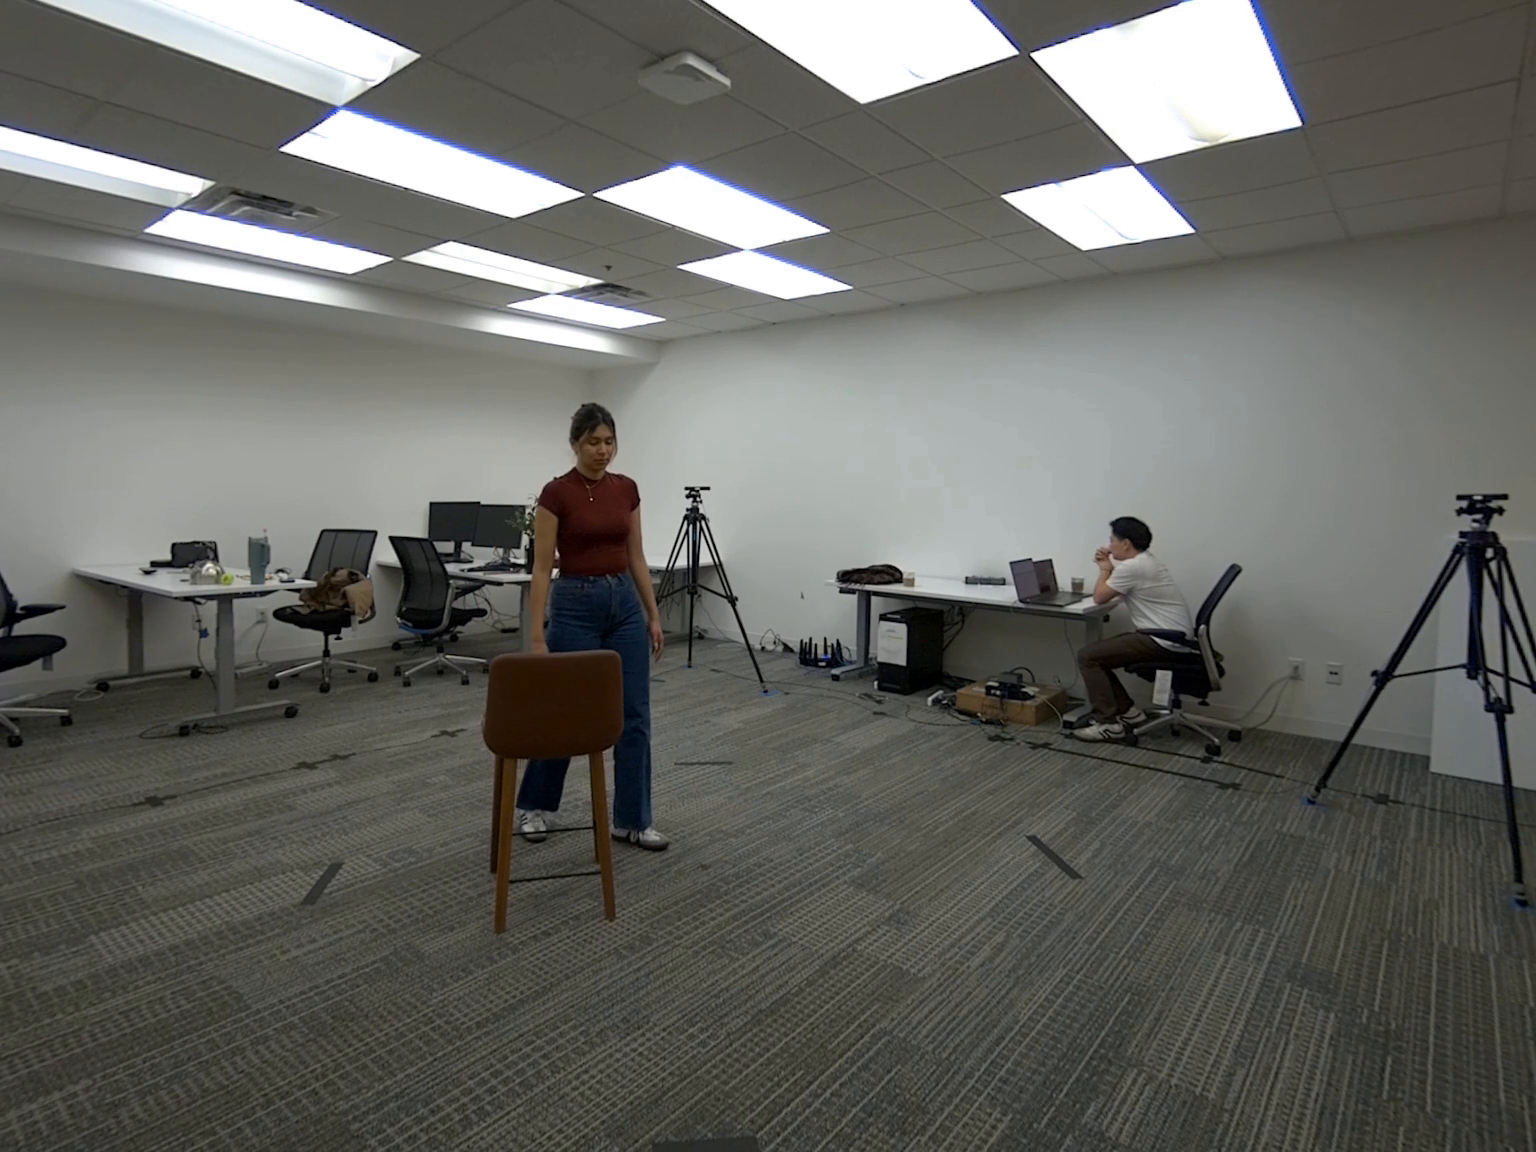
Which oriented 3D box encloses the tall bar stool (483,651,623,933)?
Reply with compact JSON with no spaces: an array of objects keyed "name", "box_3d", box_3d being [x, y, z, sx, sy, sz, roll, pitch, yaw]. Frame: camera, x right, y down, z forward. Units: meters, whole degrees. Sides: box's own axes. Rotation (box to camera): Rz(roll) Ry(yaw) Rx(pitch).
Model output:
[{"name":"tall bar stool","box_3d":[-0.745,0.651,2.865,0.448,0.886,0.478,-1,5,-18]}]
